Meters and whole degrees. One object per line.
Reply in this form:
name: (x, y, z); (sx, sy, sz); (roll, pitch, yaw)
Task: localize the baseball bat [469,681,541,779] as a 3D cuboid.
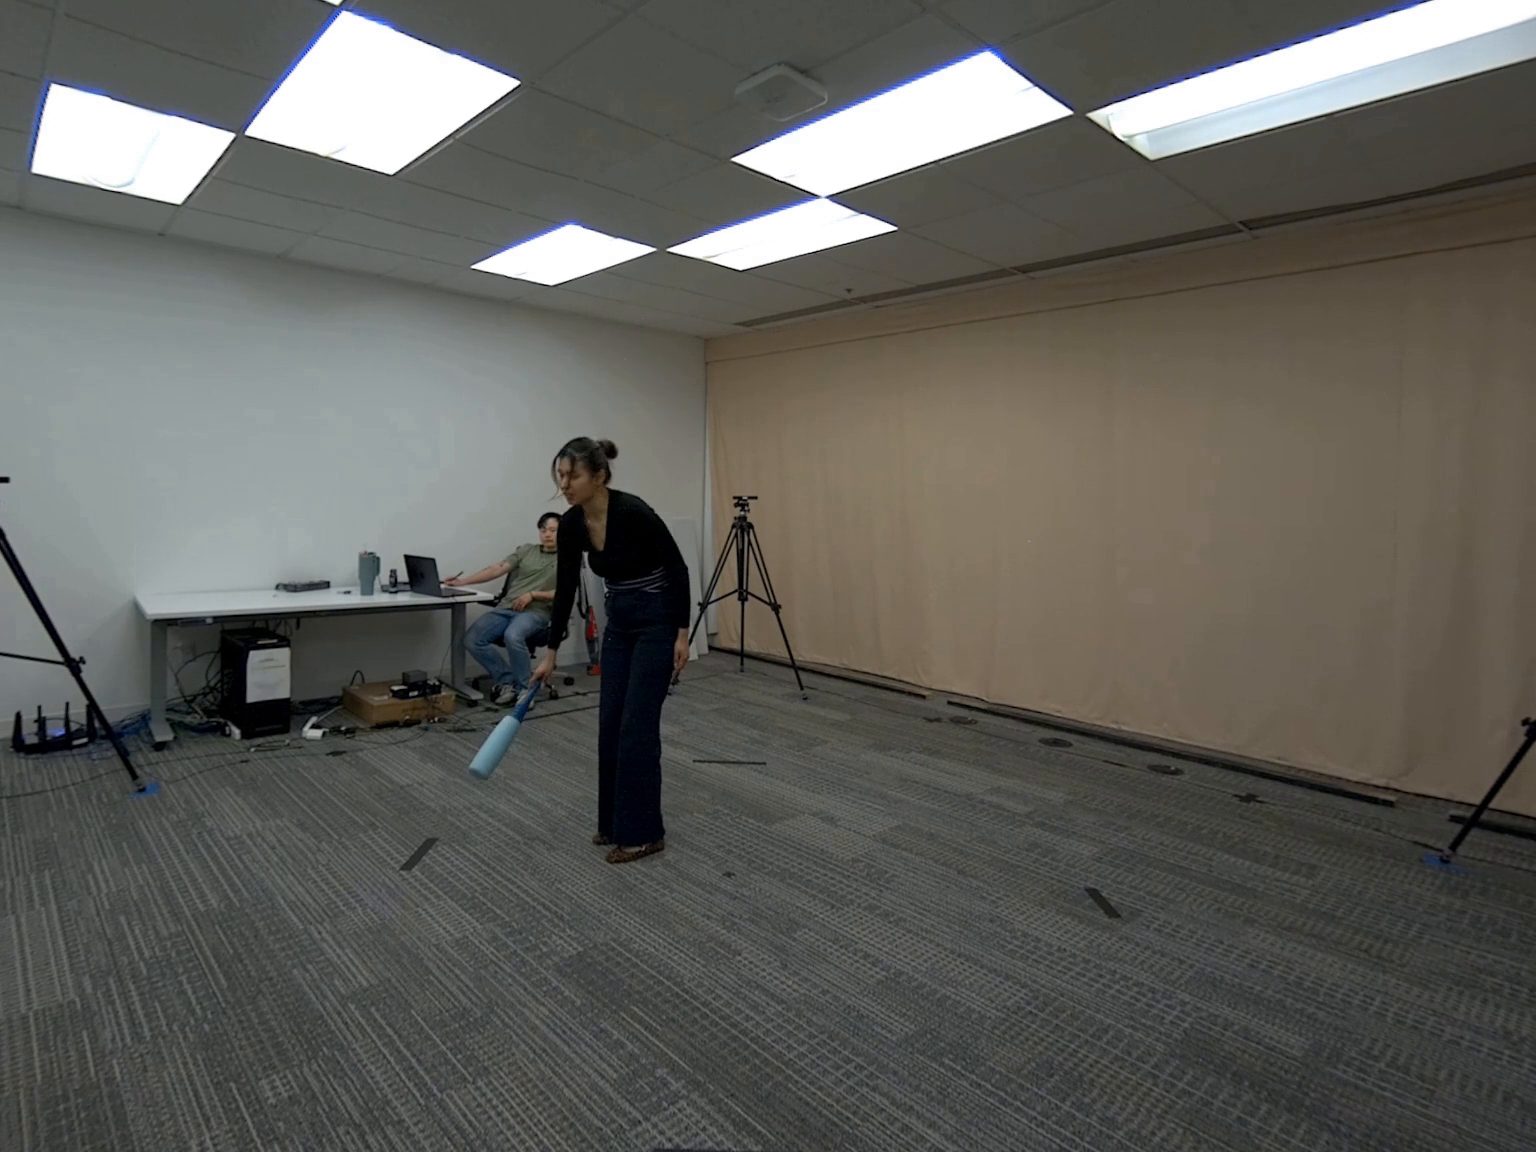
baseball bat: (-0.992, 0.568, 3.292); (0.091, 0.086, 0.547); (3, 47, 27)
